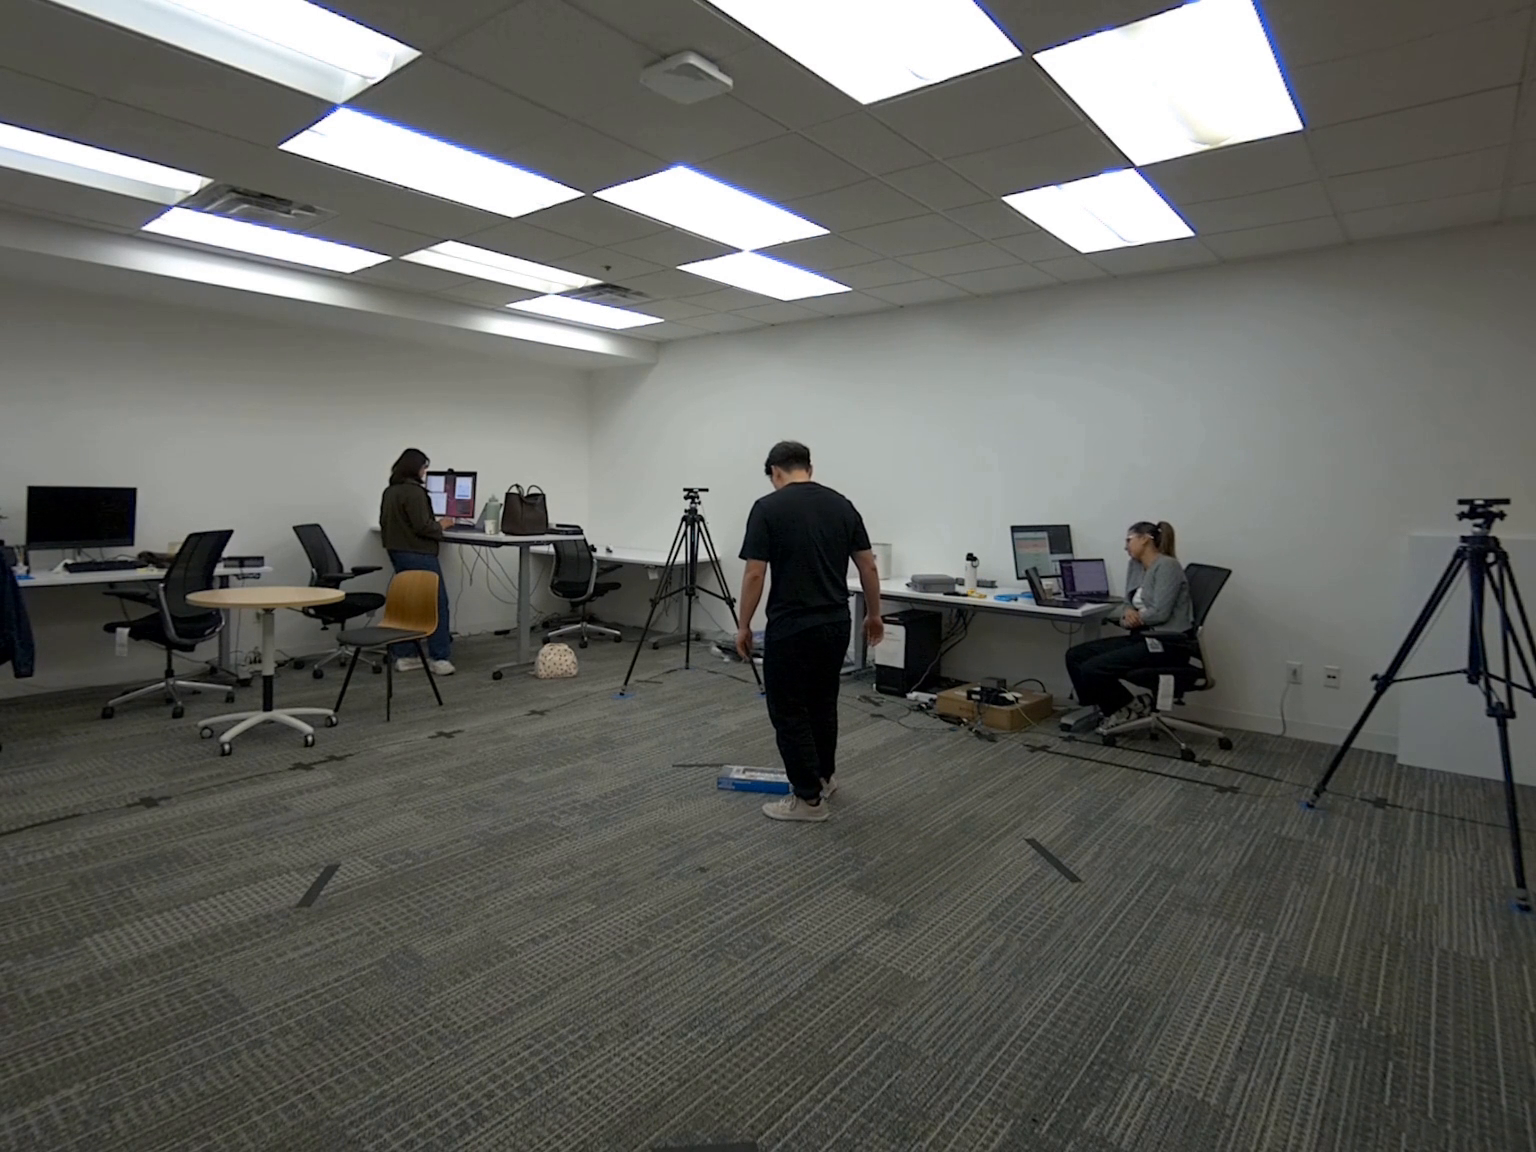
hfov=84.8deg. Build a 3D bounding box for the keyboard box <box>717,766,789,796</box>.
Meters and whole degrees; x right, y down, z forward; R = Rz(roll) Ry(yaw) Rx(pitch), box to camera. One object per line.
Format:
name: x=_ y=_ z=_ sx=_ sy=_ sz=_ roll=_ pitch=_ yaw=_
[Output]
keyboard box: x=-0.019 y=0.957 z=3.997 sx=0.442 sy=0.059 sz=0.175 roll=2 pitch=6 yaw=10
